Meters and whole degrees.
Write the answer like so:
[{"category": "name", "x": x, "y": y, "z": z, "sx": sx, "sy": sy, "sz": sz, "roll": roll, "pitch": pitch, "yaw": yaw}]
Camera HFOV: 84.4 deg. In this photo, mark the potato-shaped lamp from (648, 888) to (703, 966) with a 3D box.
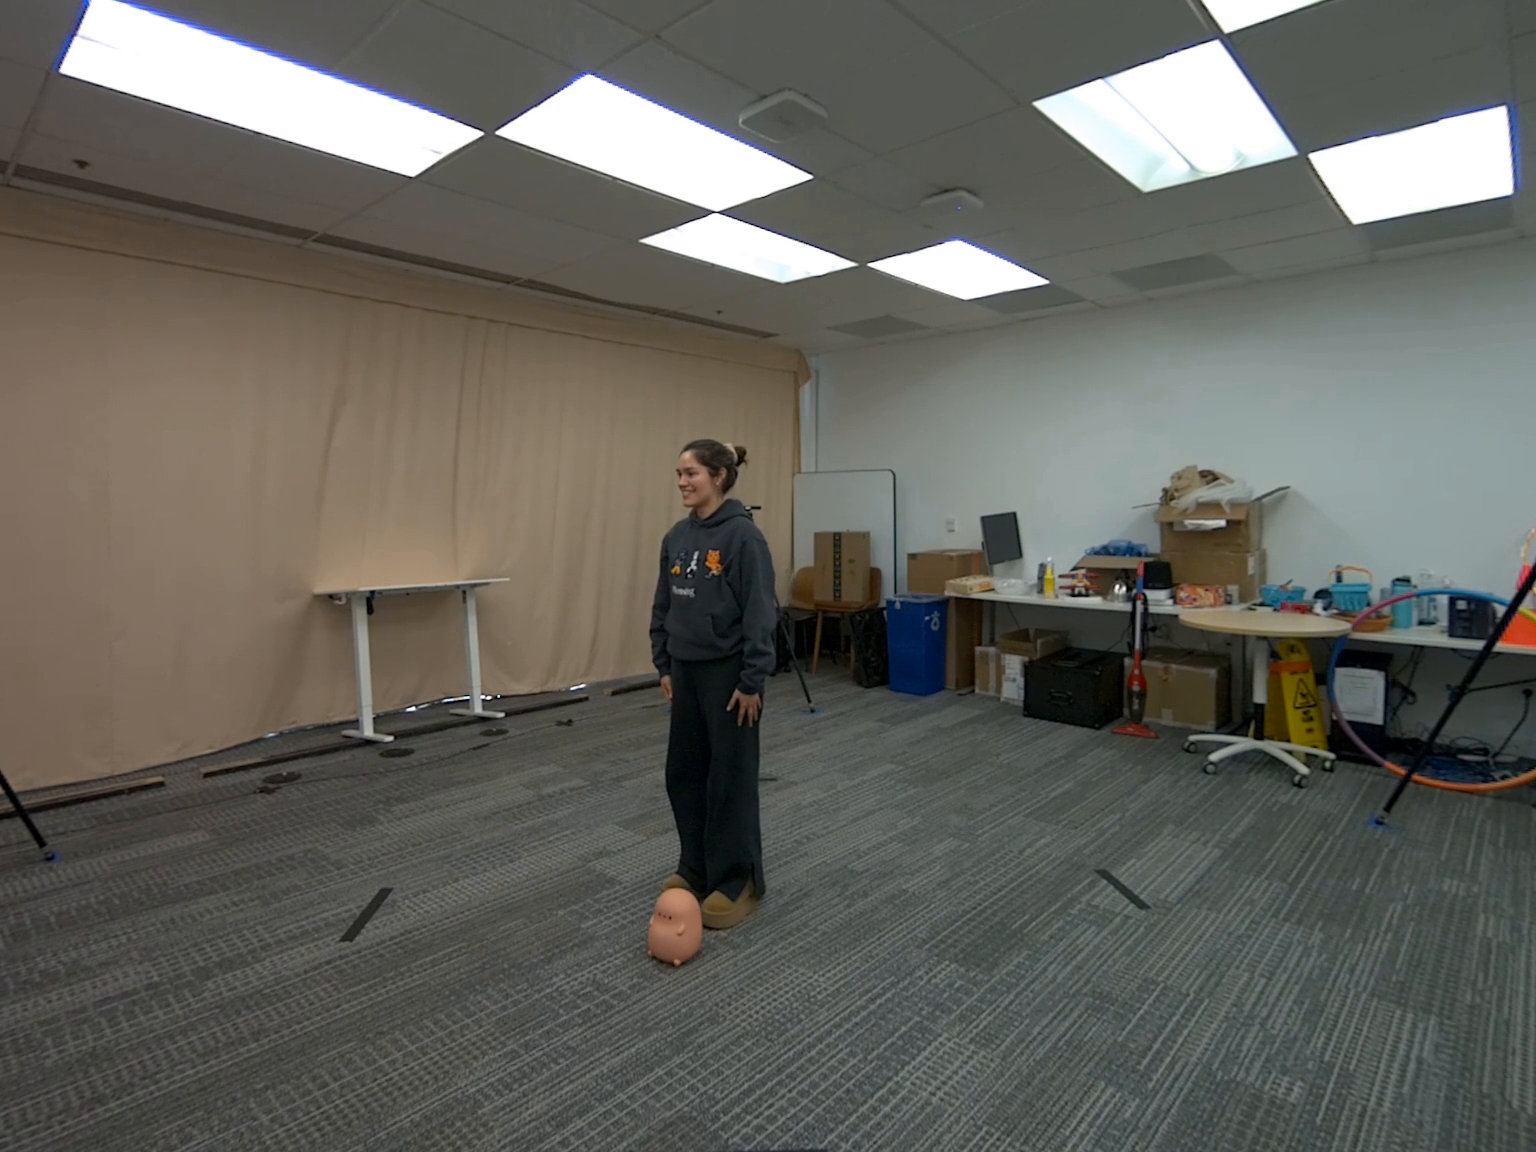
[{"category": "potato-shaped lamp", "x": -0.275, "y": 1.071, "z": 2.619, "sx": 0.170, "sy": 0.198, "sz": 0.166, "roll": 2, "pitch": 3, "yaw": 32}]
